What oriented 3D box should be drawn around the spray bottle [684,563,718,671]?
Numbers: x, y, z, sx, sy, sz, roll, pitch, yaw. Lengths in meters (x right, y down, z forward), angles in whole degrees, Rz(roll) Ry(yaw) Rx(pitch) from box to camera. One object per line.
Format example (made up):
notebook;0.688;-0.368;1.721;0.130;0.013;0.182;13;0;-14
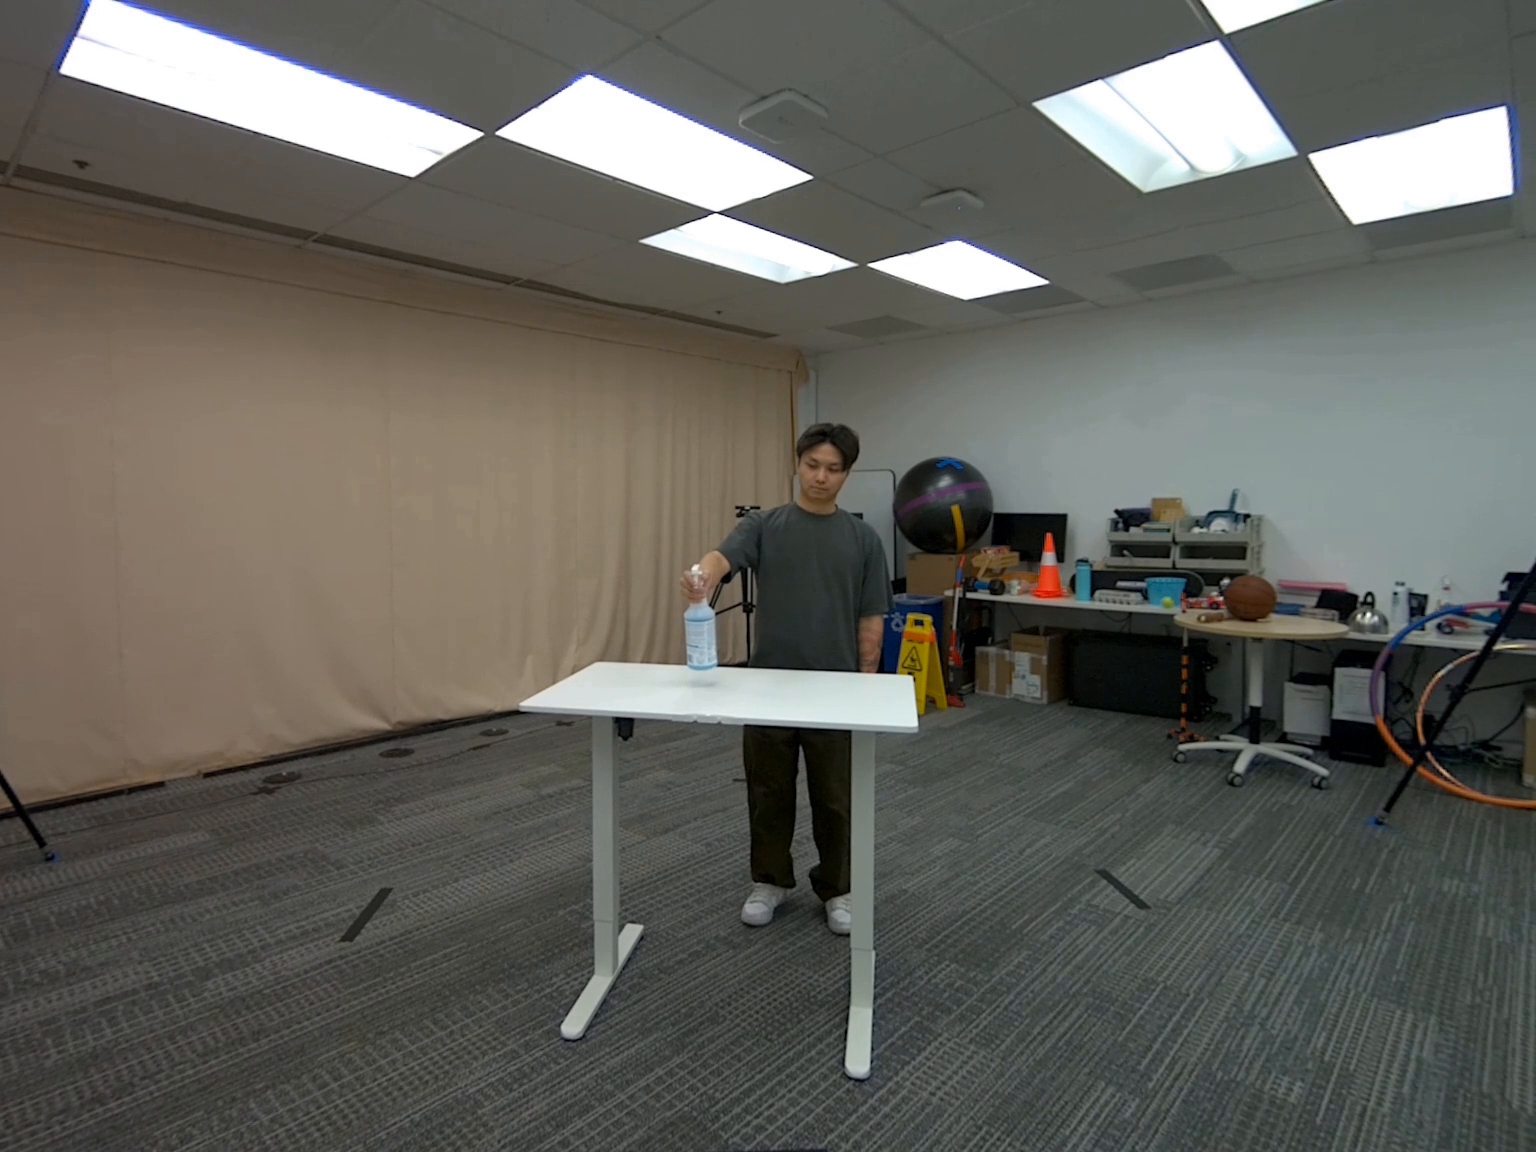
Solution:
spray bottle;-0.192;0.113;2.355;0.090;0.295;0.088;4;13;32
